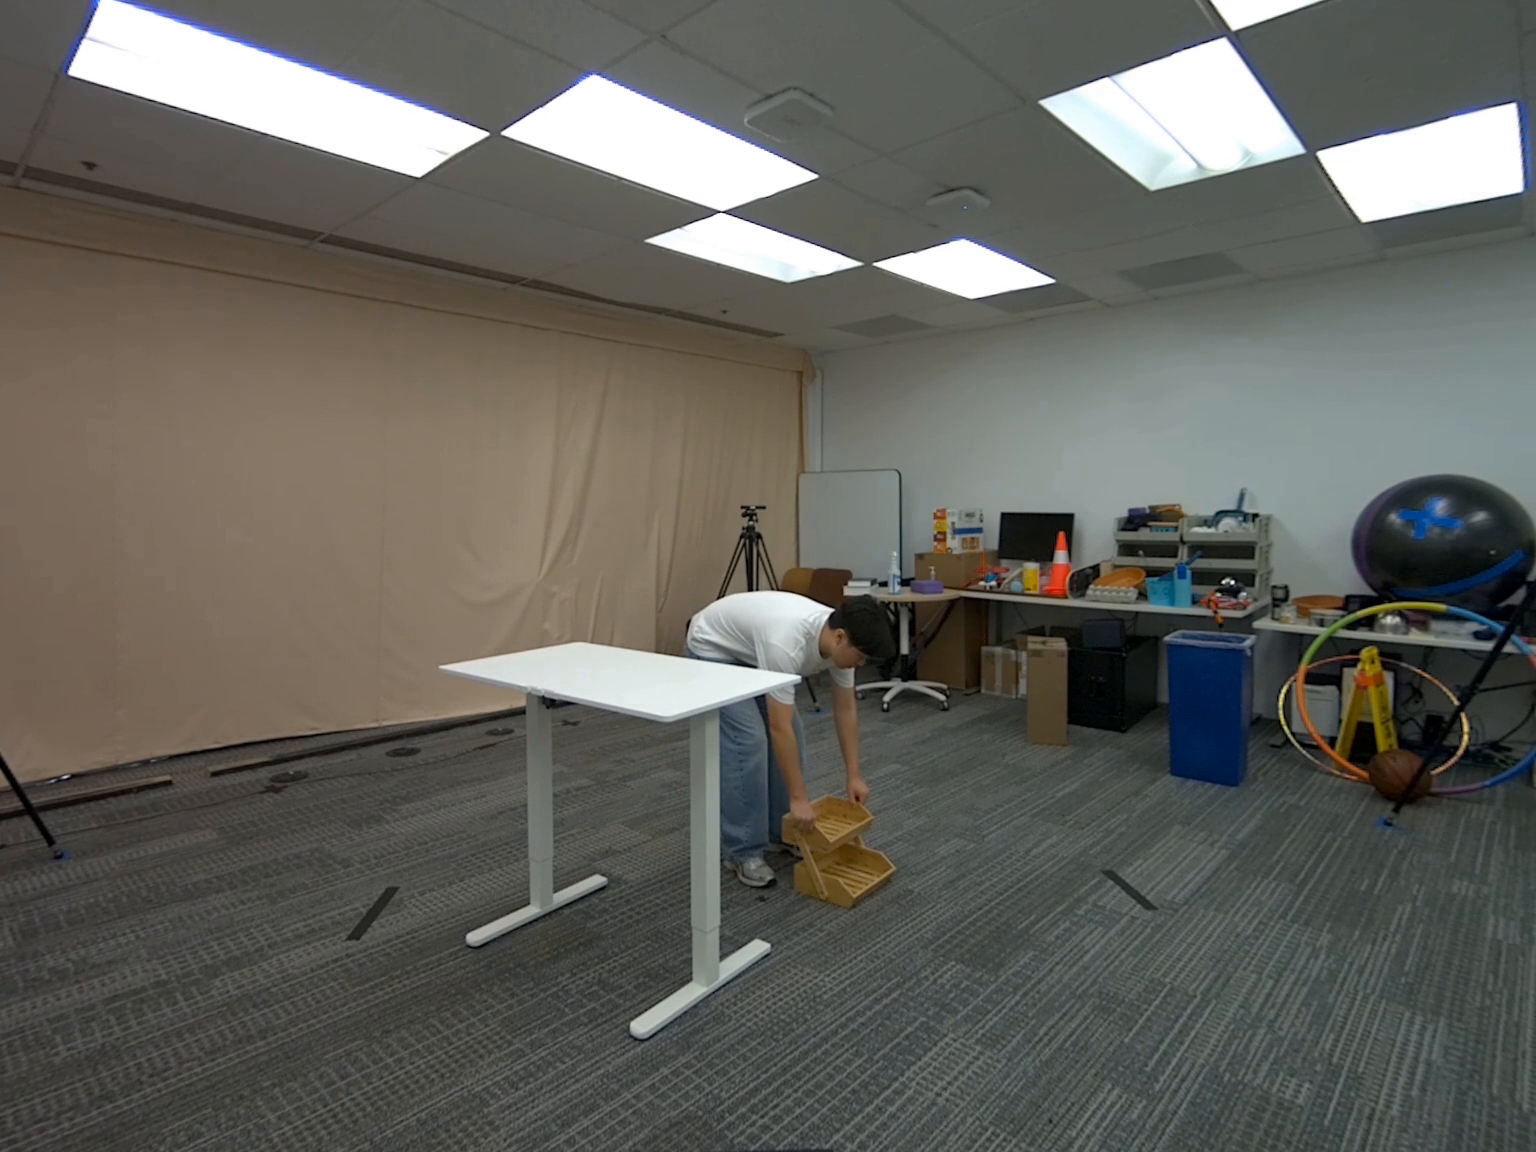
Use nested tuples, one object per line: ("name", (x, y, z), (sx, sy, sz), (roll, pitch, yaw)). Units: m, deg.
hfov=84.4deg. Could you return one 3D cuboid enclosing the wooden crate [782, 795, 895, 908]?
("wooden crate", (0.270, 0.986, 3.091), (0.312, 0.273, 0.315), (3, 5, 37))
